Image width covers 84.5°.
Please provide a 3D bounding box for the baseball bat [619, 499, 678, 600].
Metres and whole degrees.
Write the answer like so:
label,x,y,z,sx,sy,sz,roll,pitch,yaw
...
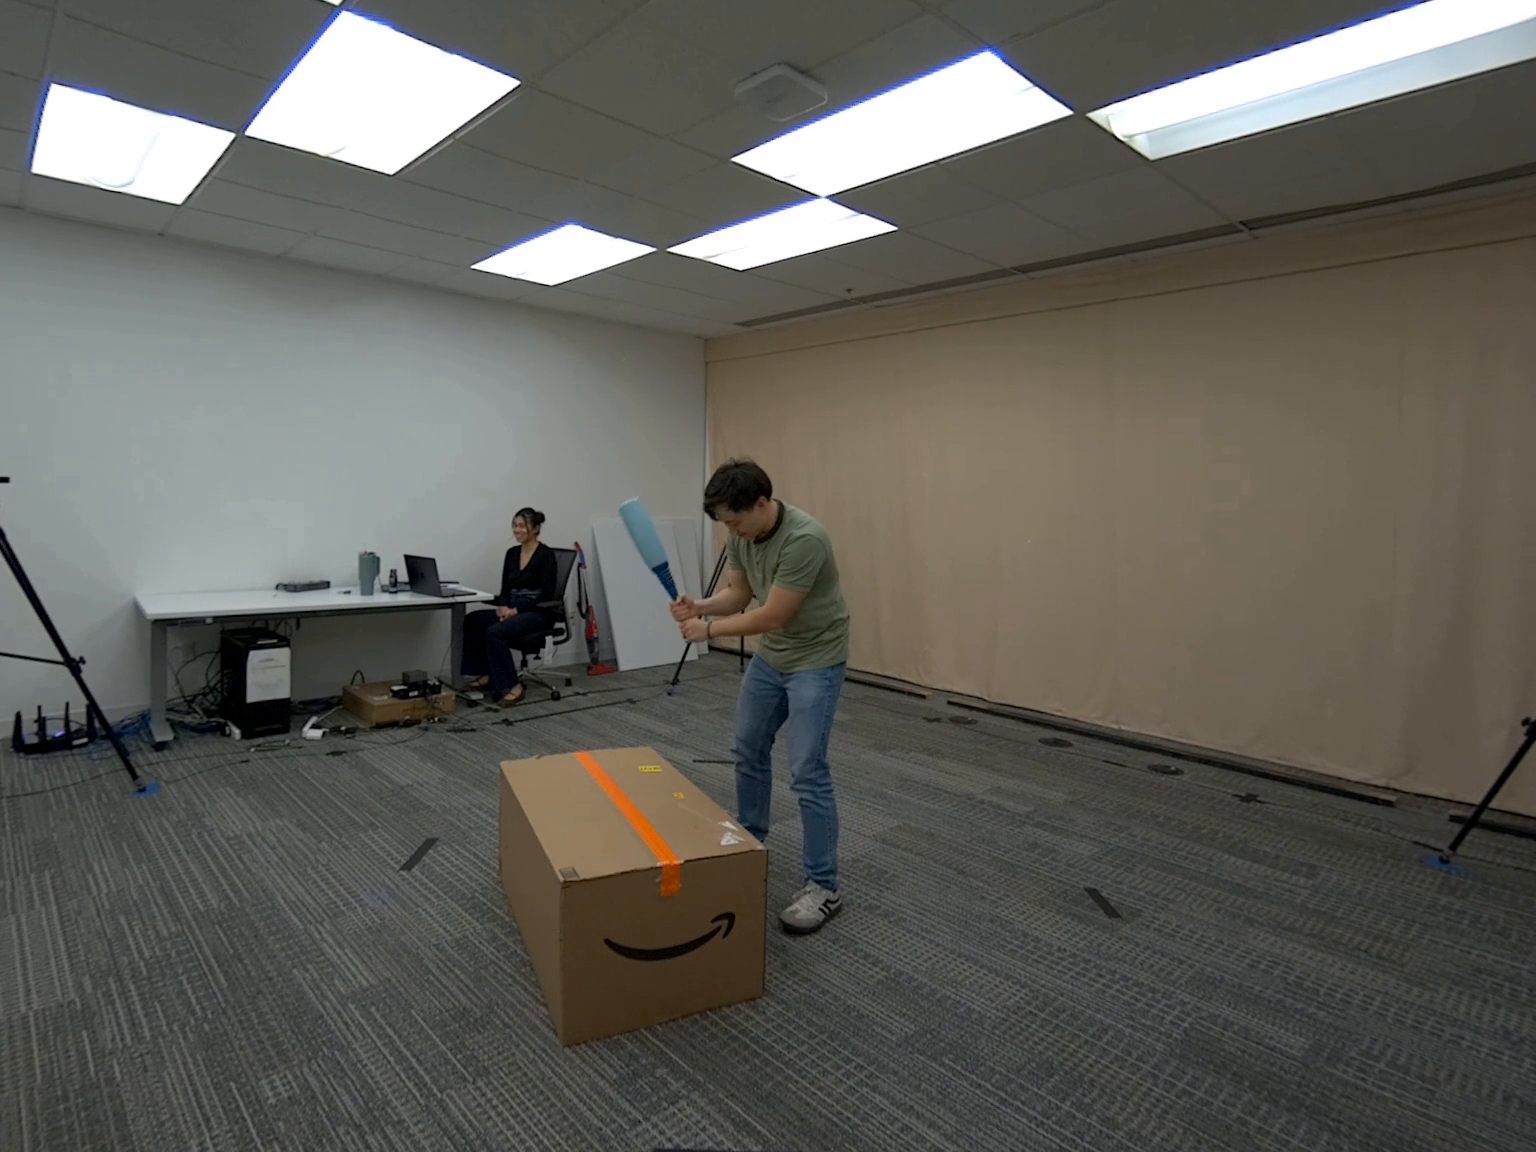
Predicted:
label,x,y,z,sx,sy,sz,roll,pitch,yaw
baseball bat,-0.346,-0.016,2.934,0.089,0.544,0.089,-27,-3,-2
